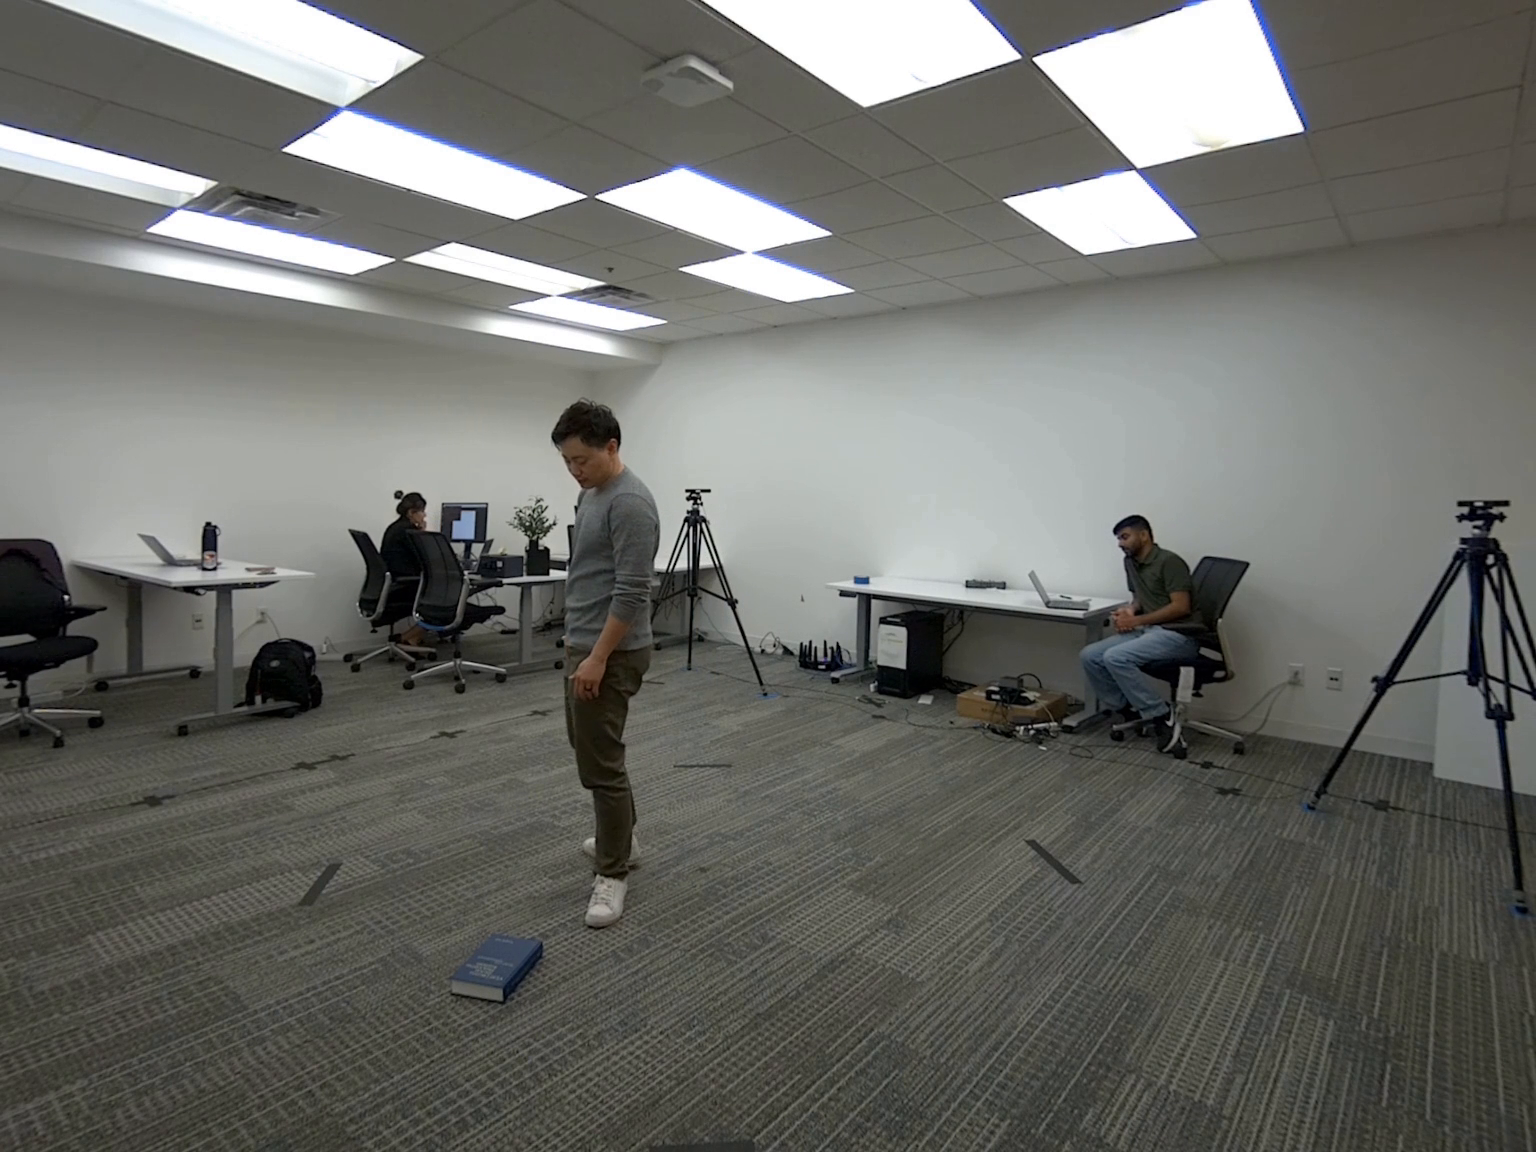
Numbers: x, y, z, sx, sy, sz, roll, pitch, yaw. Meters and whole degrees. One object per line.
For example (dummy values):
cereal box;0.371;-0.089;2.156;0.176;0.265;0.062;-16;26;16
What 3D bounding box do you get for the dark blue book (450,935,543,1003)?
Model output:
dark blue book;-0.777;1.106;2.419;0.165;0.045;0.243;2;5;11
